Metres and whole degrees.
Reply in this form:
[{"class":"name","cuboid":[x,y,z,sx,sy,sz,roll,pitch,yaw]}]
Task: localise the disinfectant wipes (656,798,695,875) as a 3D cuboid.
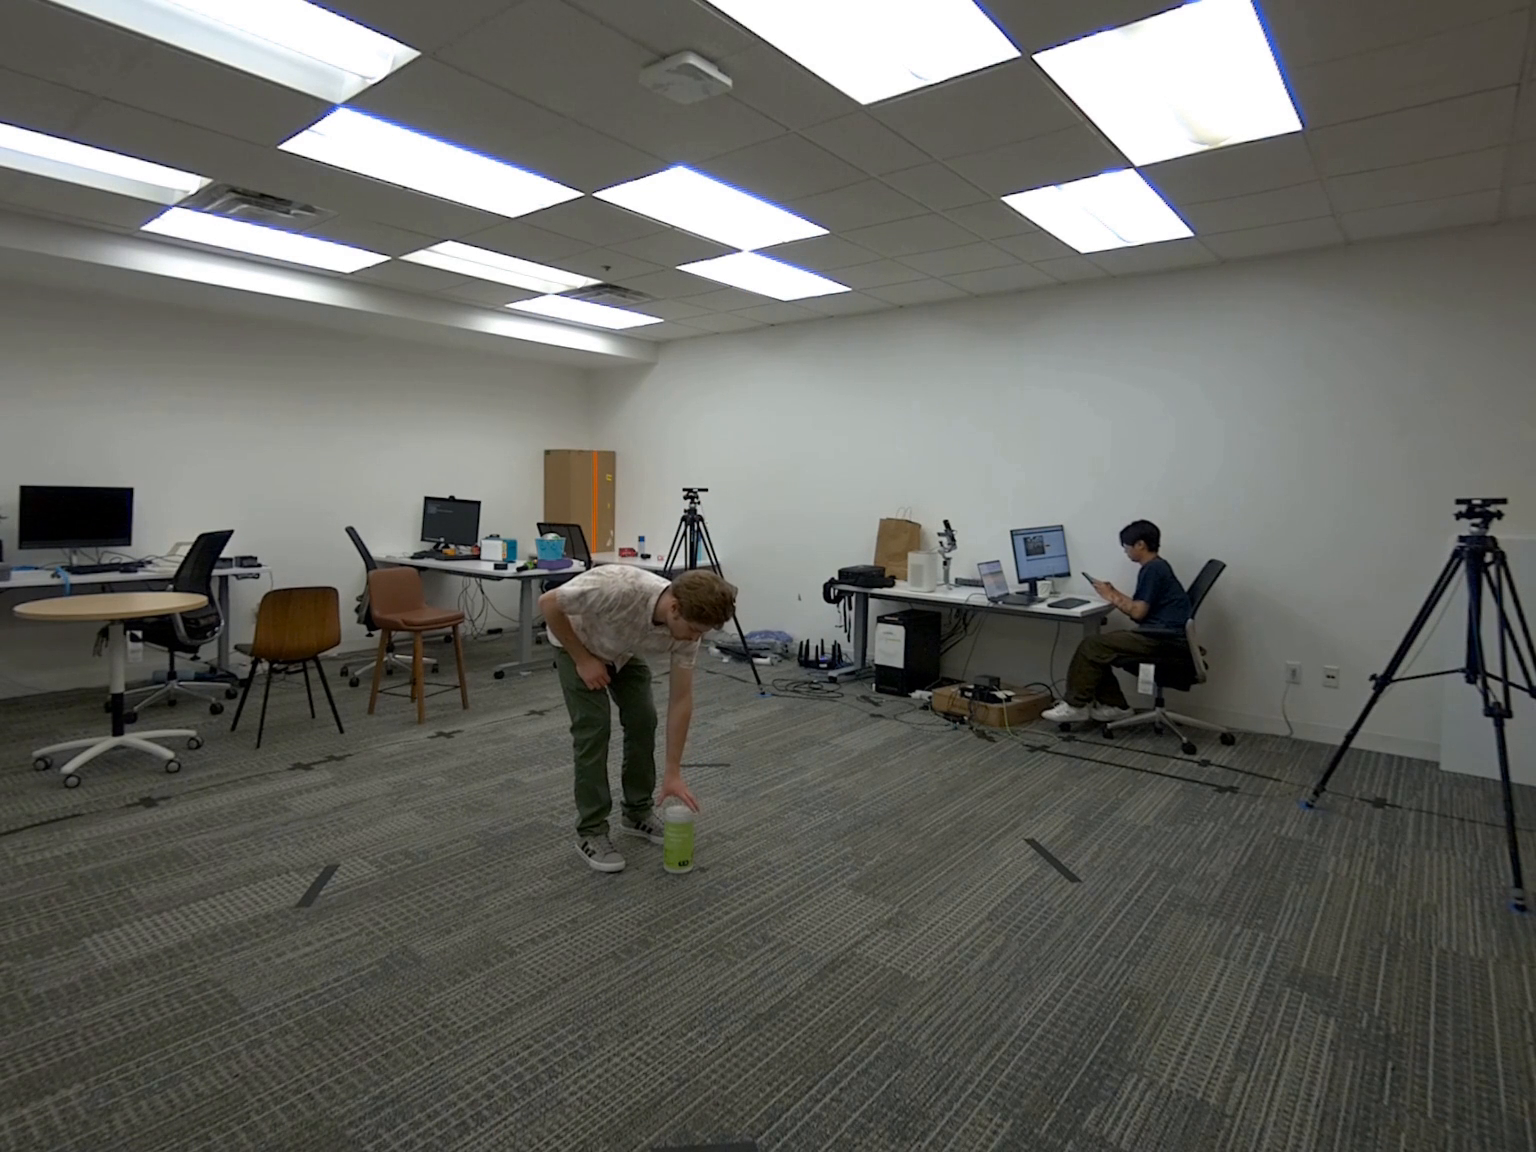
[{"class":"disinfectant wipes","cuboid":[-0.339,0.965,3.112,0.118,0.217,0.118,1,1,-2]}]
